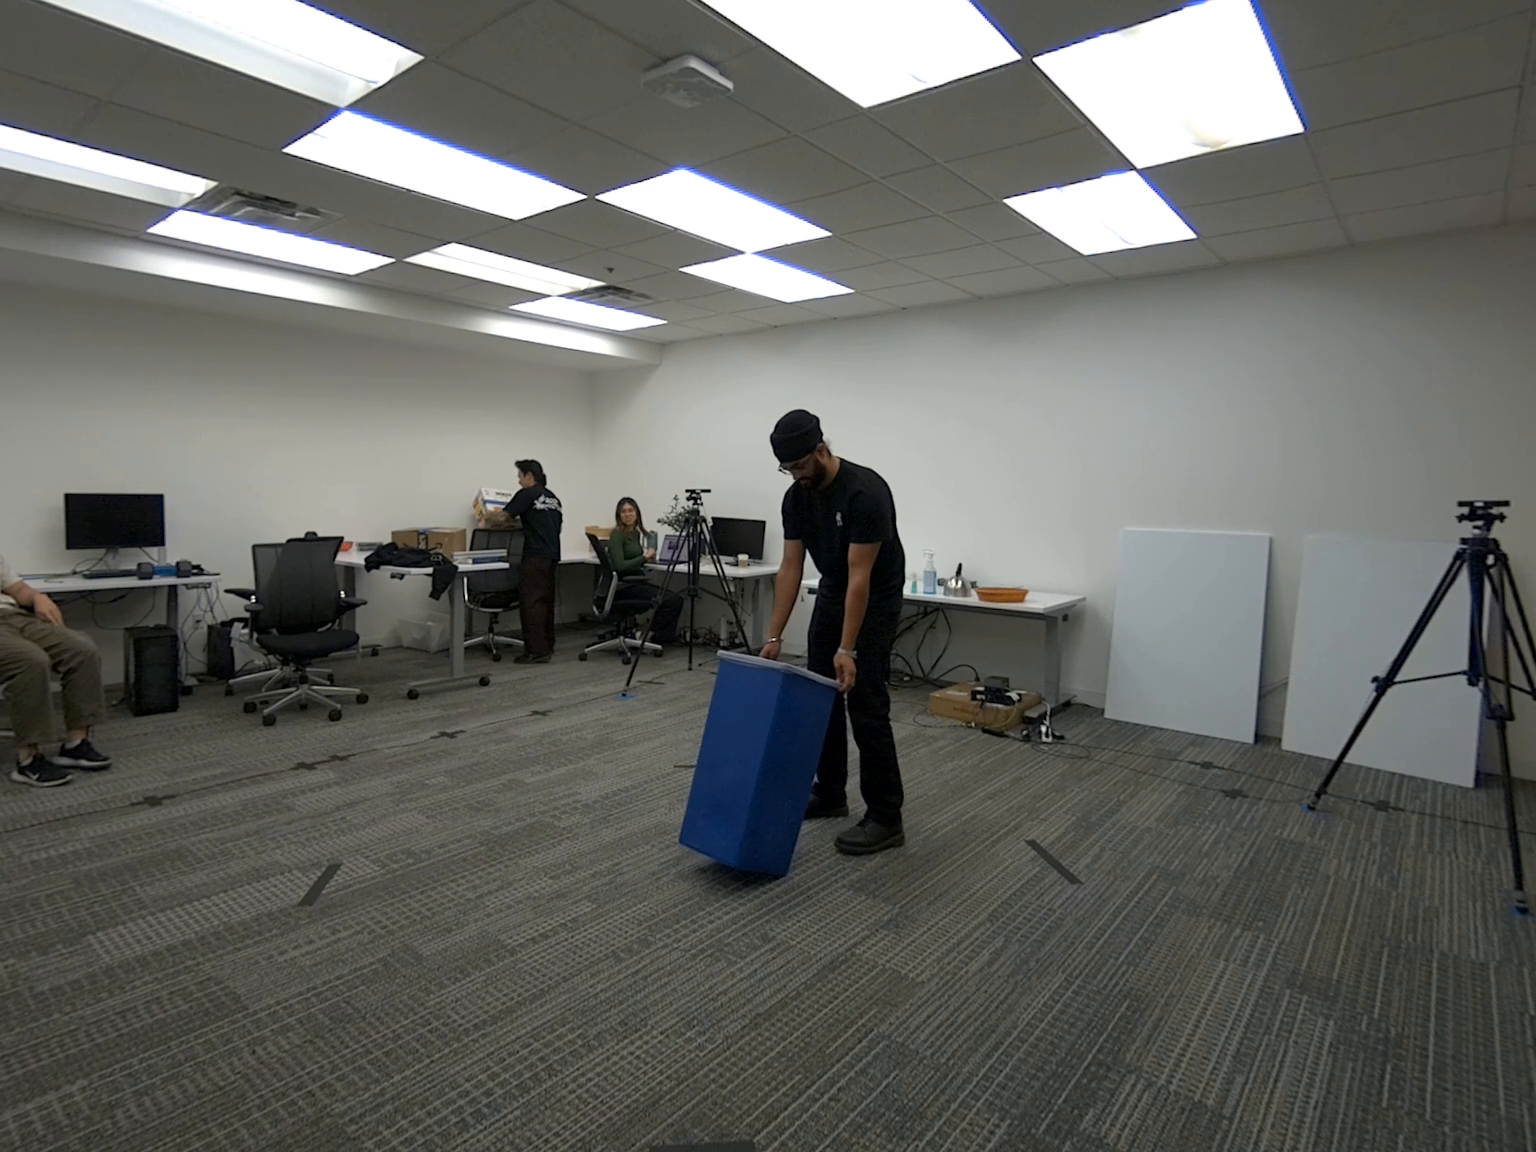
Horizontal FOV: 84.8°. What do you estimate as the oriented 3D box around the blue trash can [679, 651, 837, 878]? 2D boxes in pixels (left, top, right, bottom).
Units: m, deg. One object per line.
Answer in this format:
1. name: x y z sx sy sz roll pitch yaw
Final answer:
1. blue trash can: -0.049 0.687 3.167 0.391 0.719 0.359 4 -16 43
